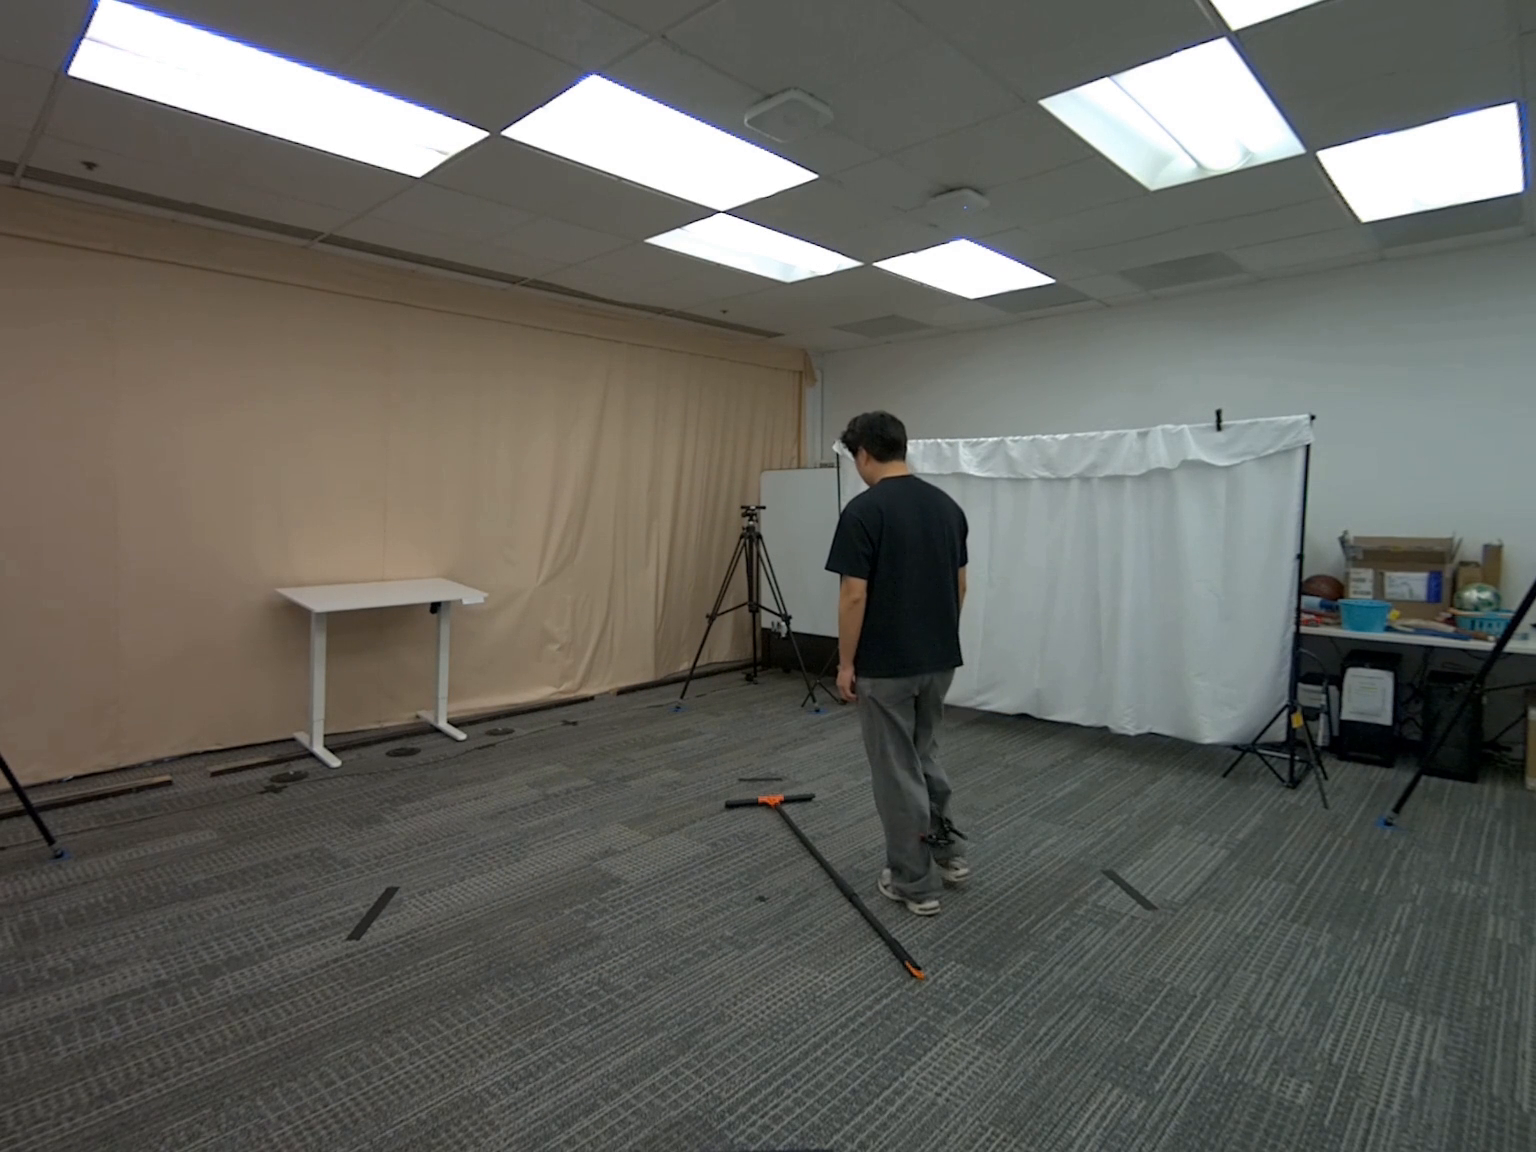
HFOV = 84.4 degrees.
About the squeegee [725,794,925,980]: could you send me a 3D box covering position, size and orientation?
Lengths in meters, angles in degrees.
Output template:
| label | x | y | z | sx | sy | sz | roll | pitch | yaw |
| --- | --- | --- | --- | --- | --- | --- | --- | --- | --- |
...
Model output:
| label | x | y | z | sx | sy | sz | roll | pitch | yaw |
| --- | --- | --- | --- | --- | --- | --- | --- | --- | --- |
| squeegee | 0.230 | 1.076 | 3.200 | 0.430 | 0.053 | 1.566 | -1 | 4 | -17 |
